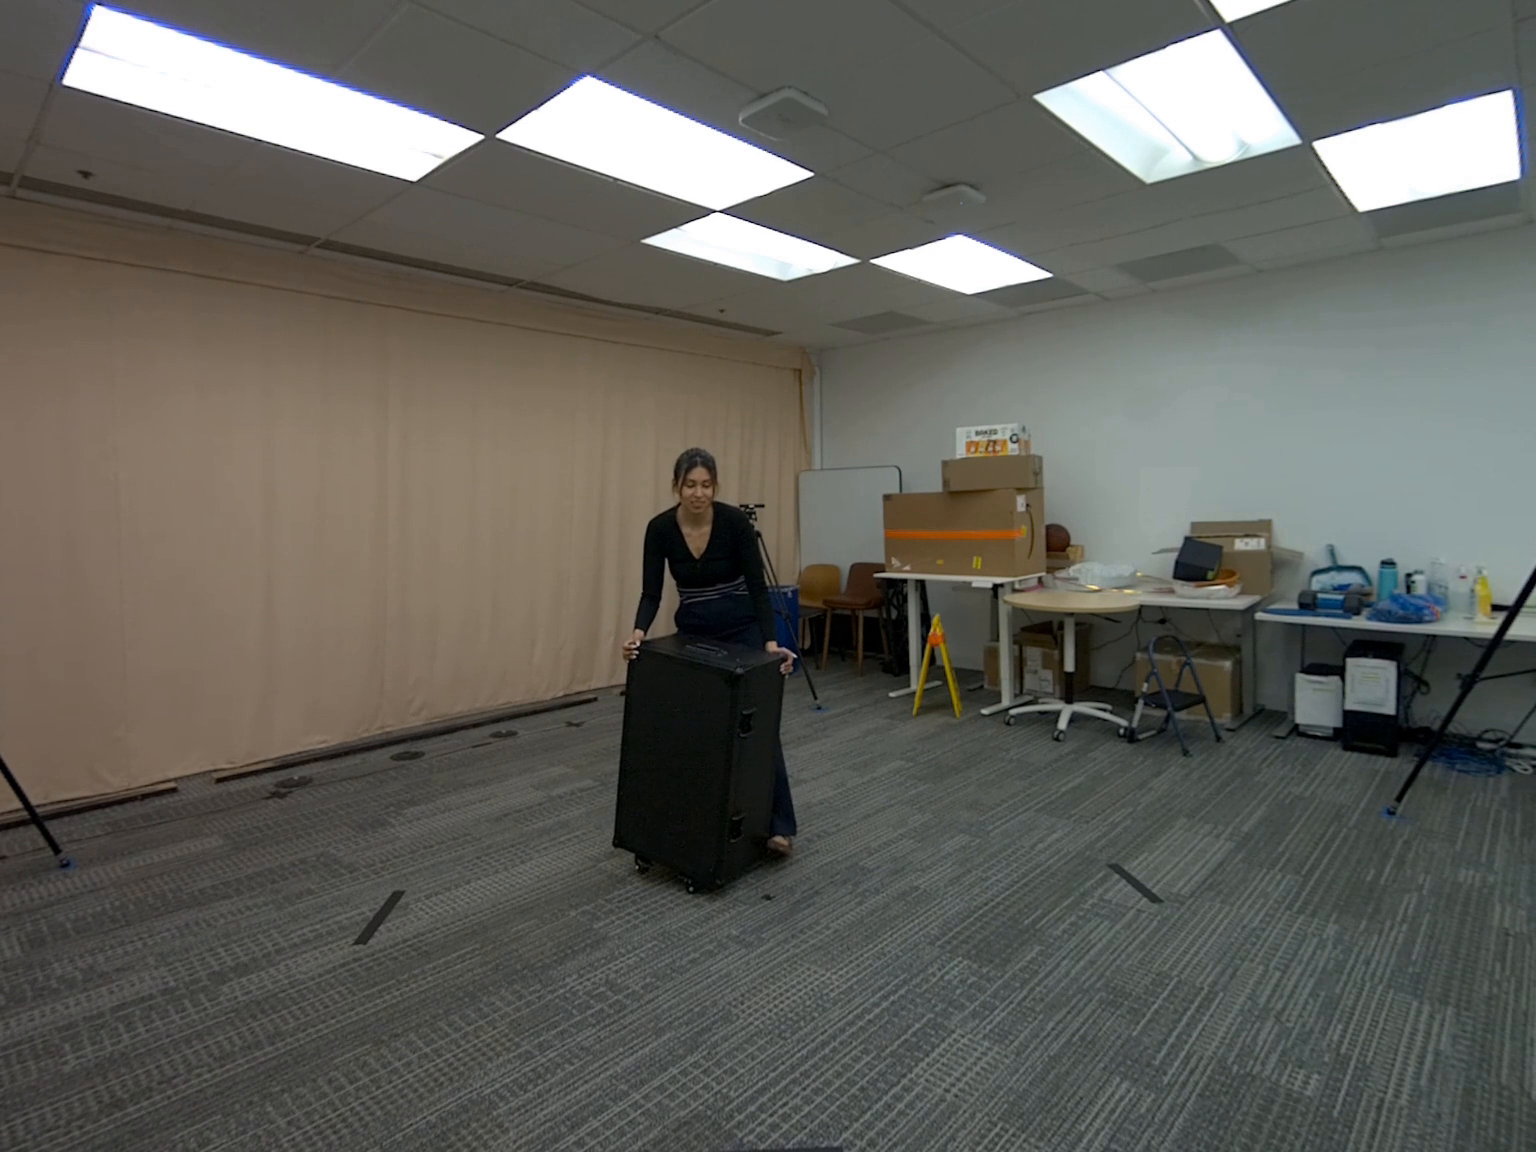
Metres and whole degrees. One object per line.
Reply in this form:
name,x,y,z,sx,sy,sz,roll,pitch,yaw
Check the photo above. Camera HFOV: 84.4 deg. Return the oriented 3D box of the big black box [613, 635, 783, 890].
big black box,-0.257,0.685,3.171,0.537,0.859,0.385,10,7,30
